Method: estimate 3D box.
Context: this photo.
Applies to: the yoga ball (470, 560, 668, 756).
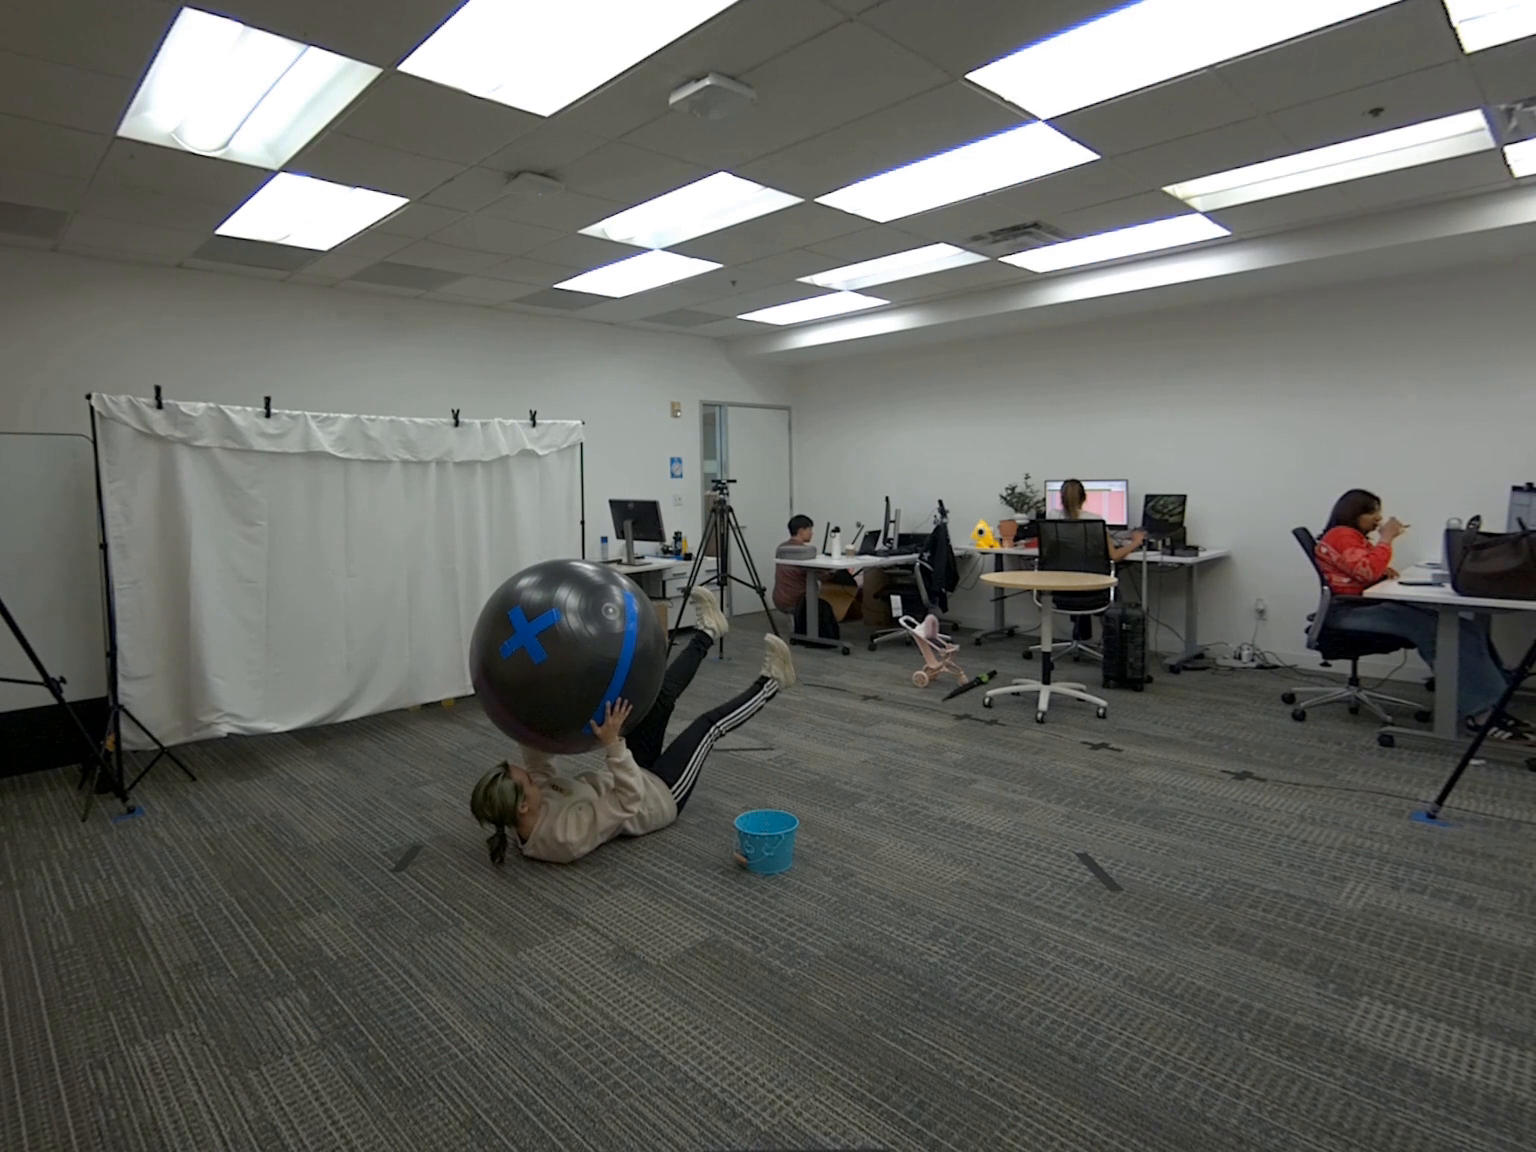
[{"bbox_3d":[-0.778,0.309,3.342,0.757,0.755,0.762,-1,5,-2],"label":"yoga ball"}]
